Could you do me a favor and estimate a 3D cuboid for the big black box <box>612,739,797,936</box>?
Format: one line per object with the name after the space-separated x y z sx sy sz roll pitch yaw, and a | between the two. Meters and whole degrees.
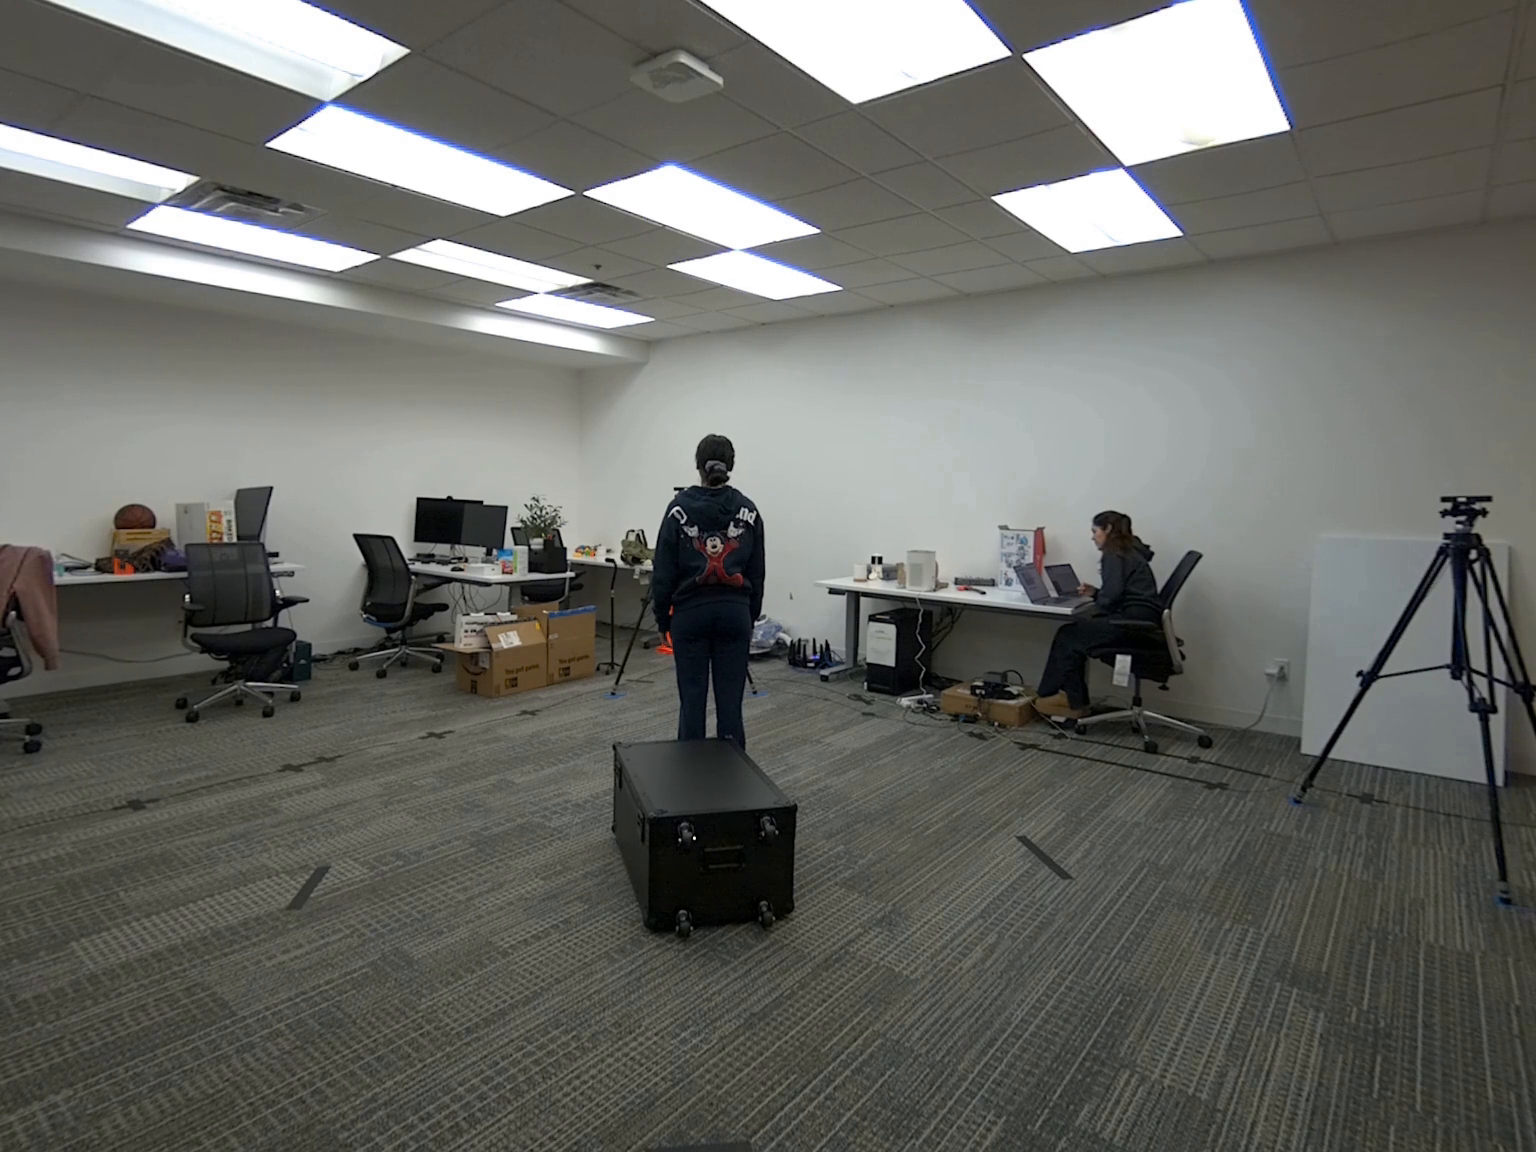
-0.263 0.882 3.017 0.512 0.395 0.880 0 5 -18 | big black box
